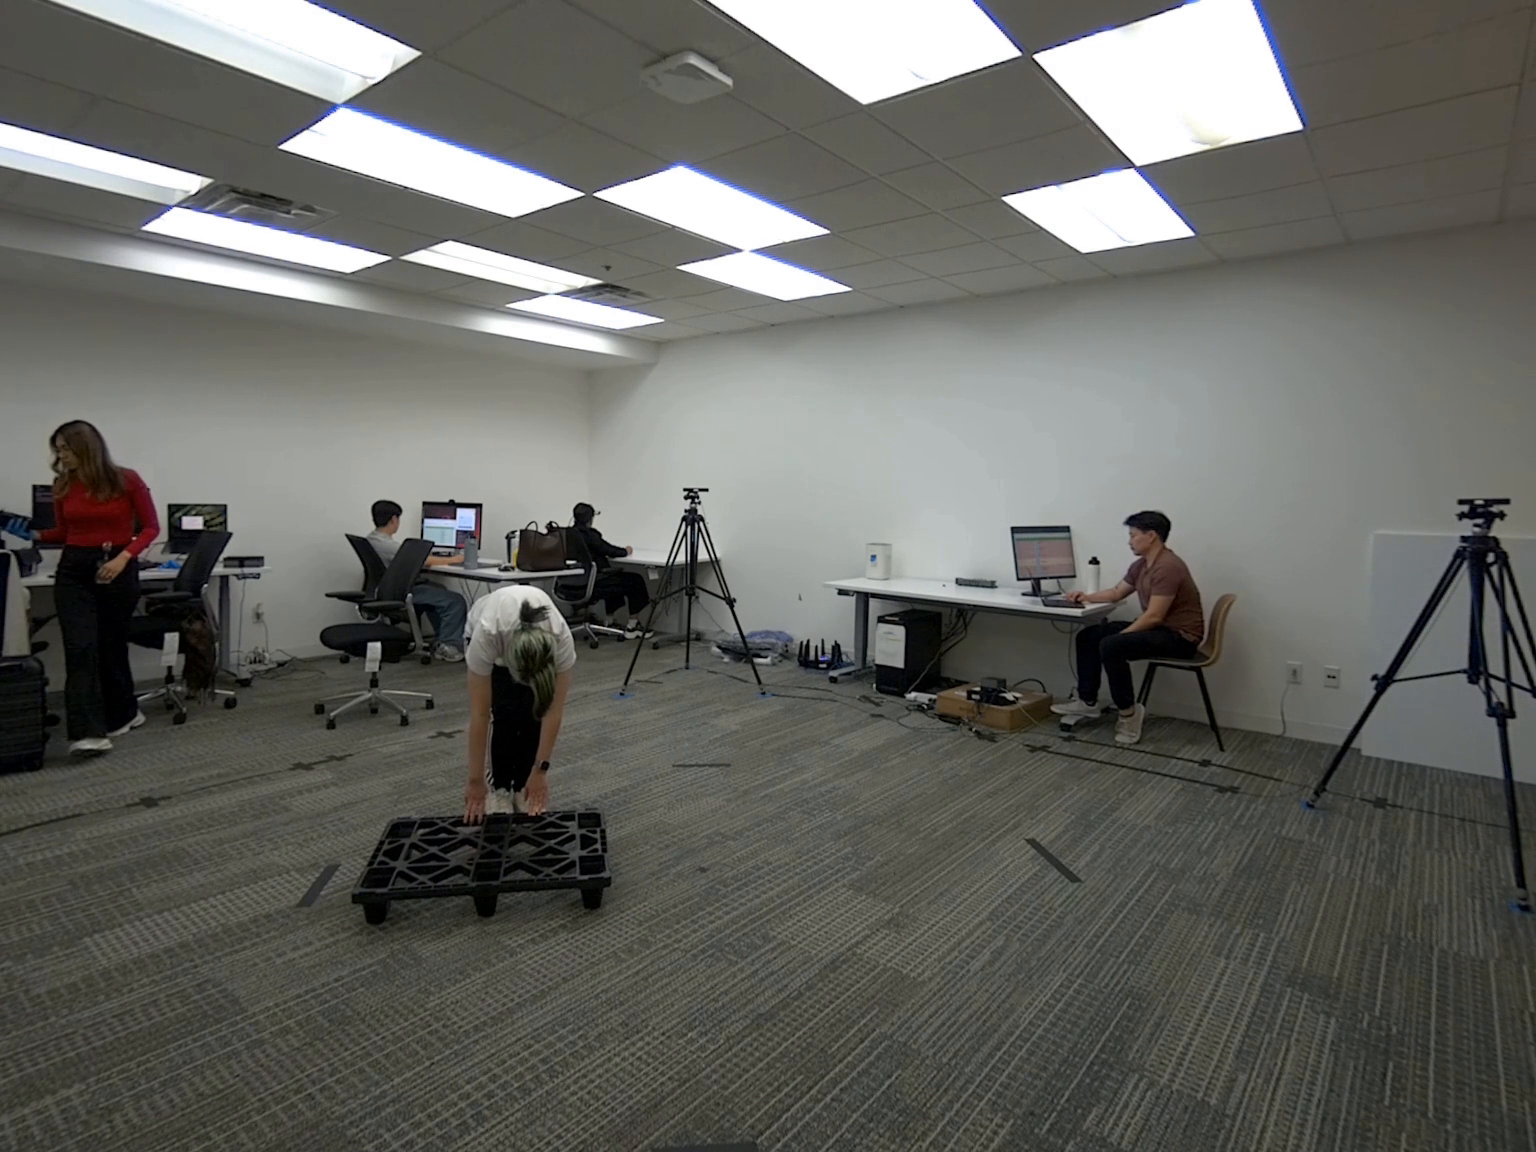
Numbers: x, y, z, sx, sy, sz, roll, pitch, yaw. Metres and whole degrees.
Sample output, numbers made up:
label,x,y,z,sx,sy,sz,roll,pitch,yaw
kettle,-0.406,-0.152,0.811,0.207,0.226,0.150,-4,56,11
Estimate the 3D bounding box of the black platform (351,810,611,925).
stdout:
label,x,y,z,sx,sy,sz,roll,pitch,yaw
black platform,-0.976,1.001,2.970,0.796,0.143,0.614,0,5,-11
